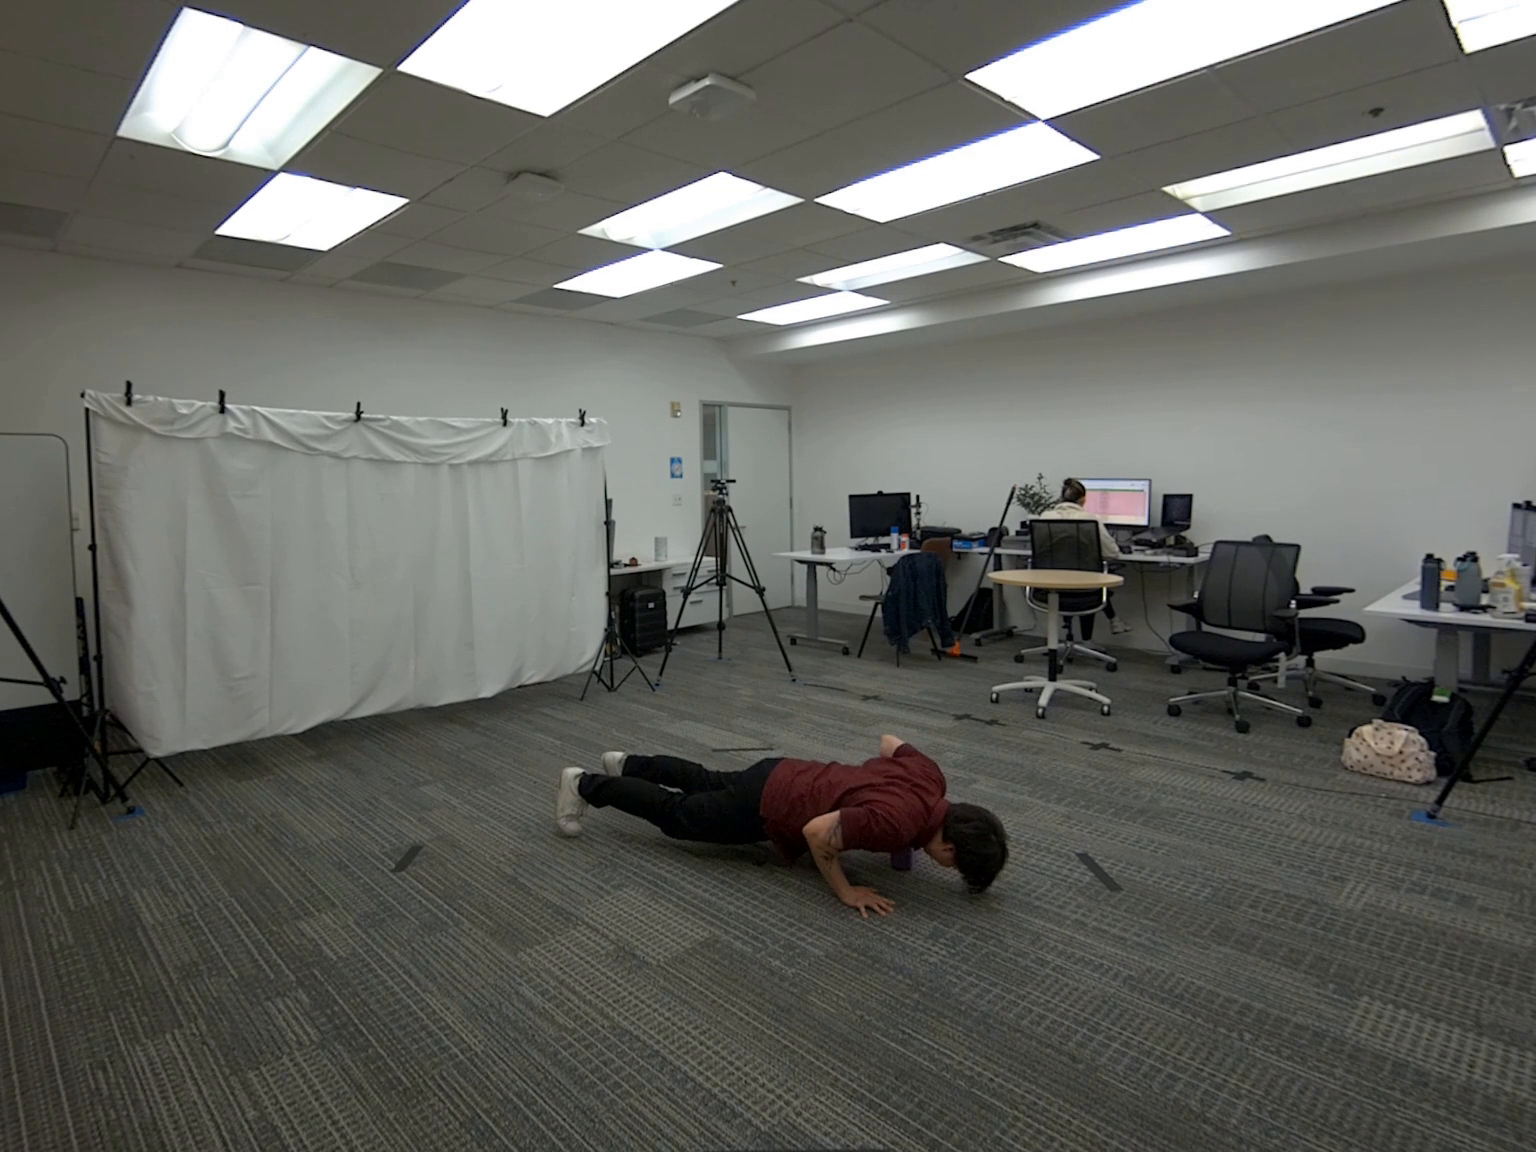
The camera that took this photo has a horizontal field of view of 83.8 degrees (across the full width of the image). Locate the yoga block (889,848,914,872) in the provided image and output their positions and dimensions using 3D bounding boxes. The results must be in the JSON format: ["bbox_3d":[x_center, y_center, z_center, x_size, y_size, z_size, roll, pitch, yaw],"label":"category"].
[{"bbox_3d":[0.502,0.948,3.137,0.078,0.148,0.226,-2,4,17],"label":"yoga block"}]
